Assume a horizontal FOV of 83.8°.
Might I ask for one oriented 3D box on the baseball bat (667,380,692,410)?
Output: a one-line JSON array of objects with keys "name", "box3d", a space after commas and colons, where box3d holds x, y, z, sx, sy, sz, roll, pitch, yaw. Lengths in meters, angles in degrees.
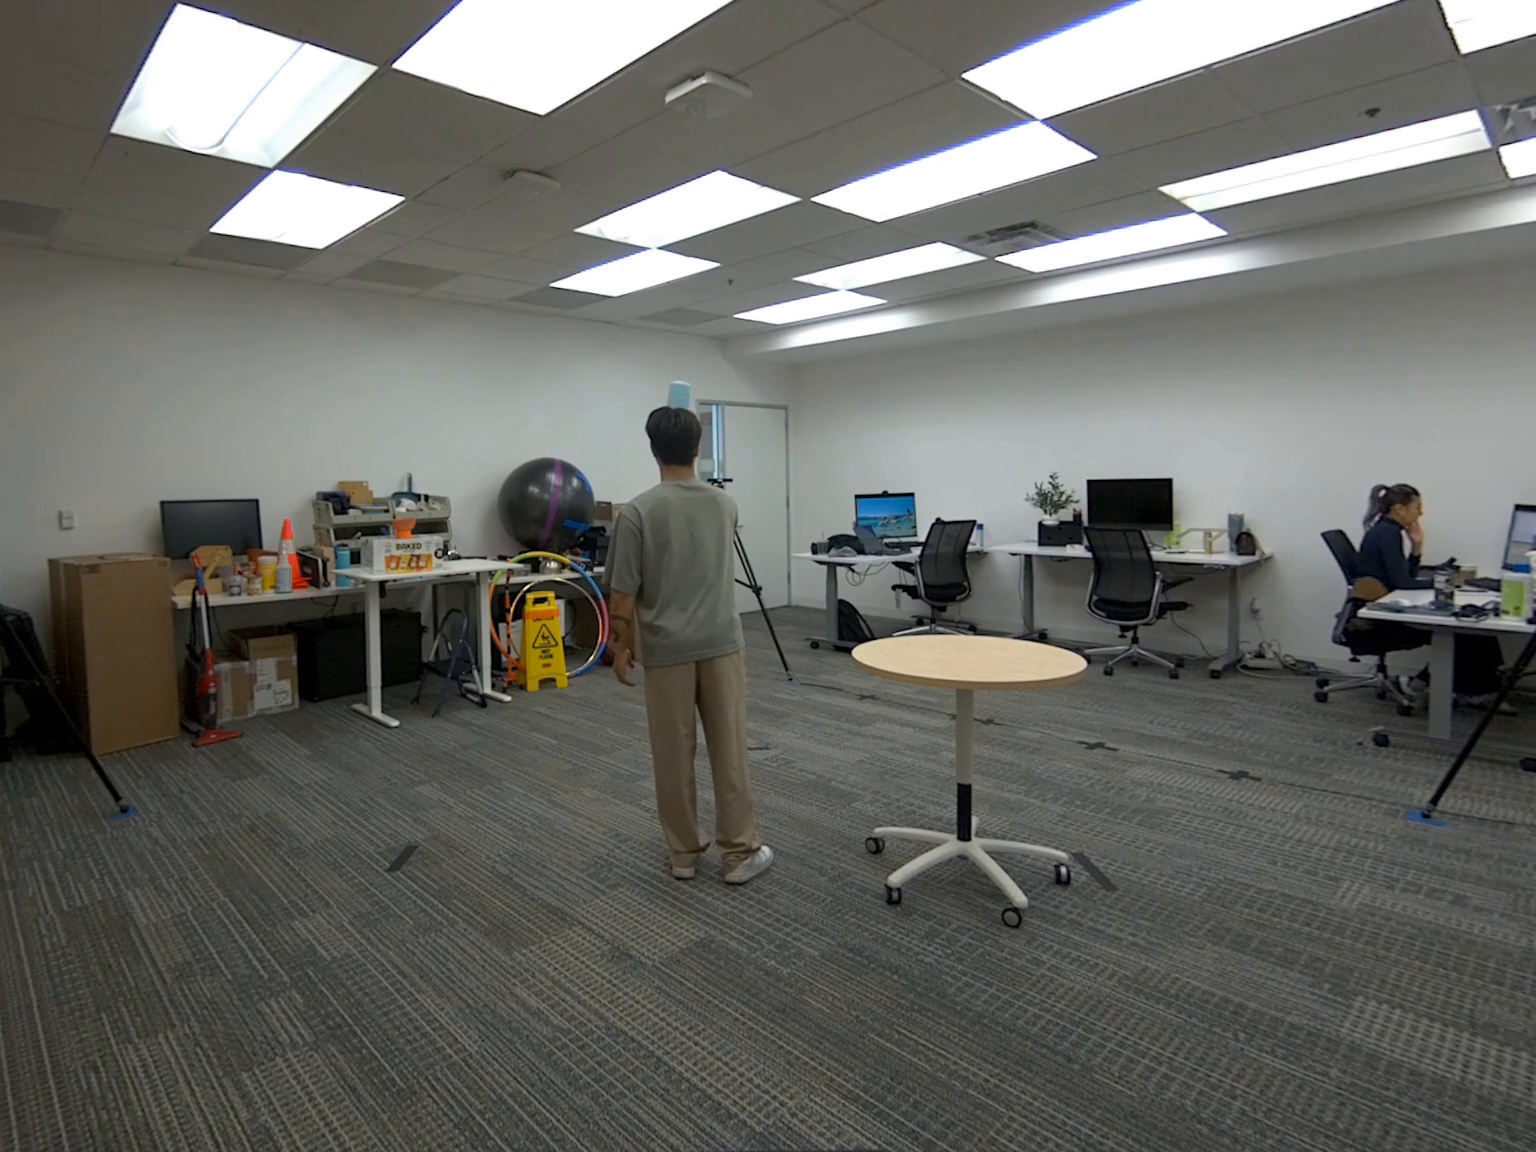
[{"name": "baseball bat", "box3d": [-0.381, -0.533, 3.536, 0.089, 0.539, 0.090, 7, 8, -3]}]
